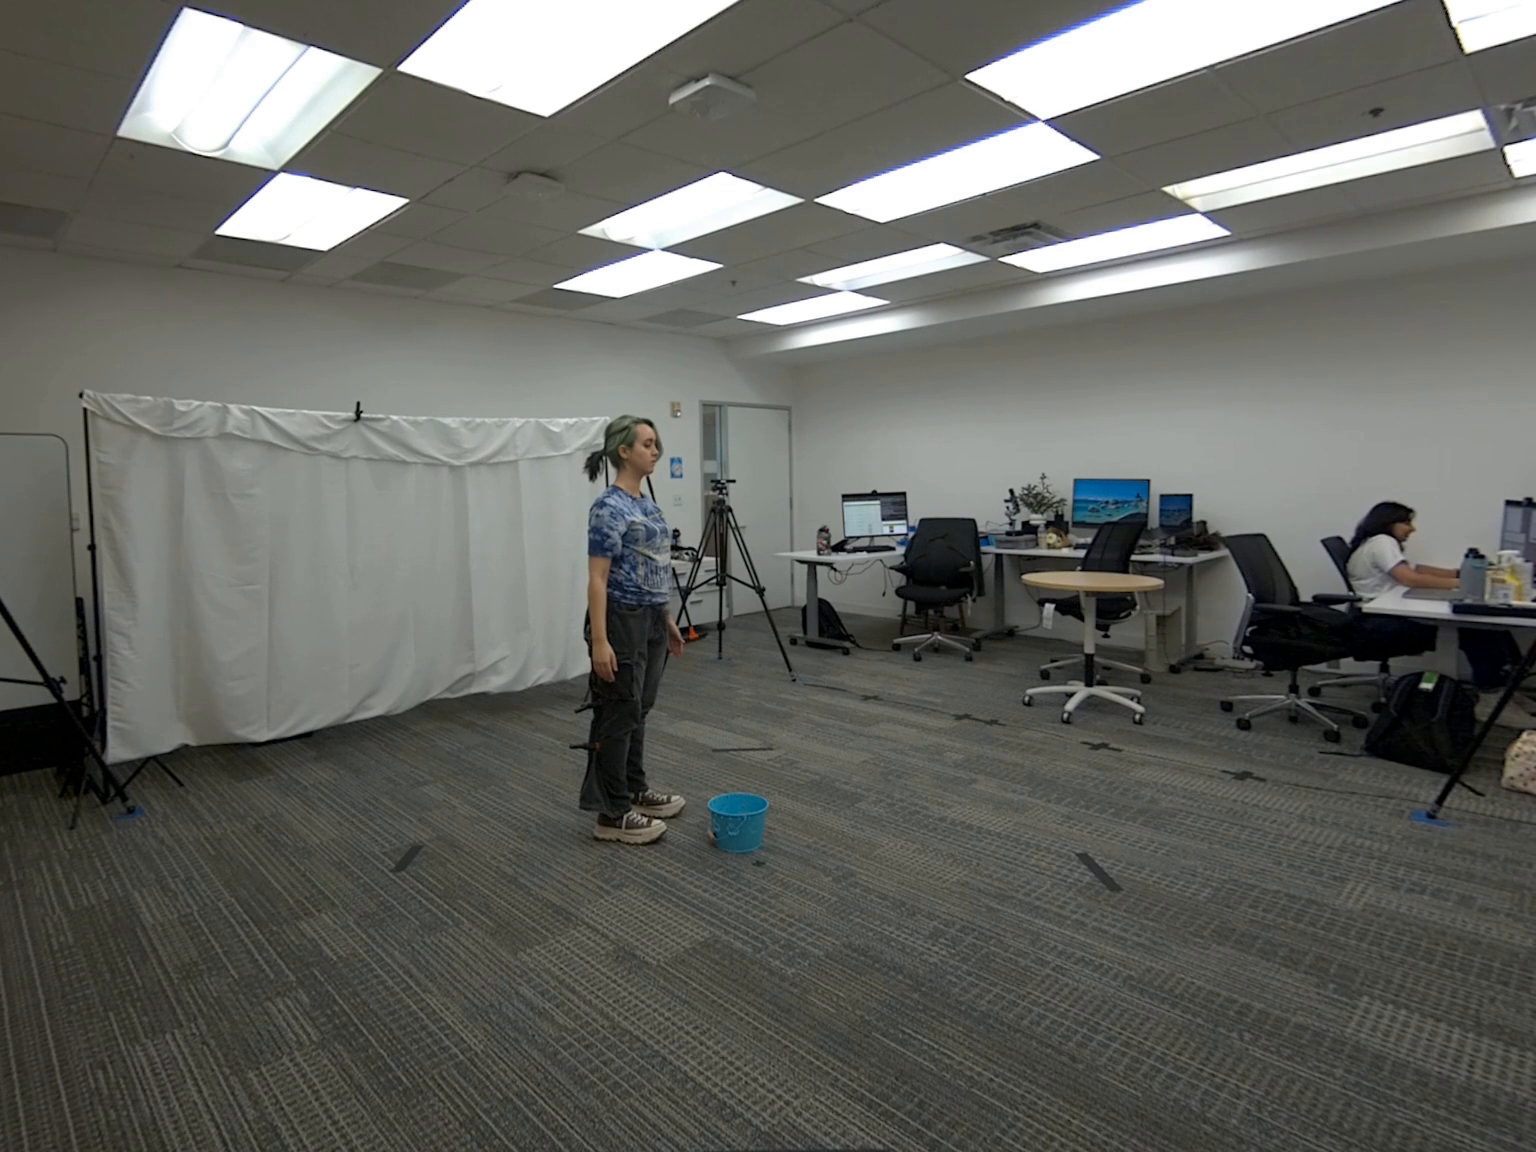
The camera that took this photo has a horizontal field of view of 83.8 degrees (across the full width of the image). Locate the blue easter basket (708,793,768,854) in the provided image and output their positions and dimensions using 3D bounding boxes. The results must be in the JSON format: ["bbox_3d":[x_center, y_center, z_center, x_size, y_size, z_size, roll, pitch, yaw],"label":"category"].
[{"bbox_3d":[-0.117,0.947,3.292,0.243,0.155,0.245,-2,6,-1],"label":"blue easter basket"}]
